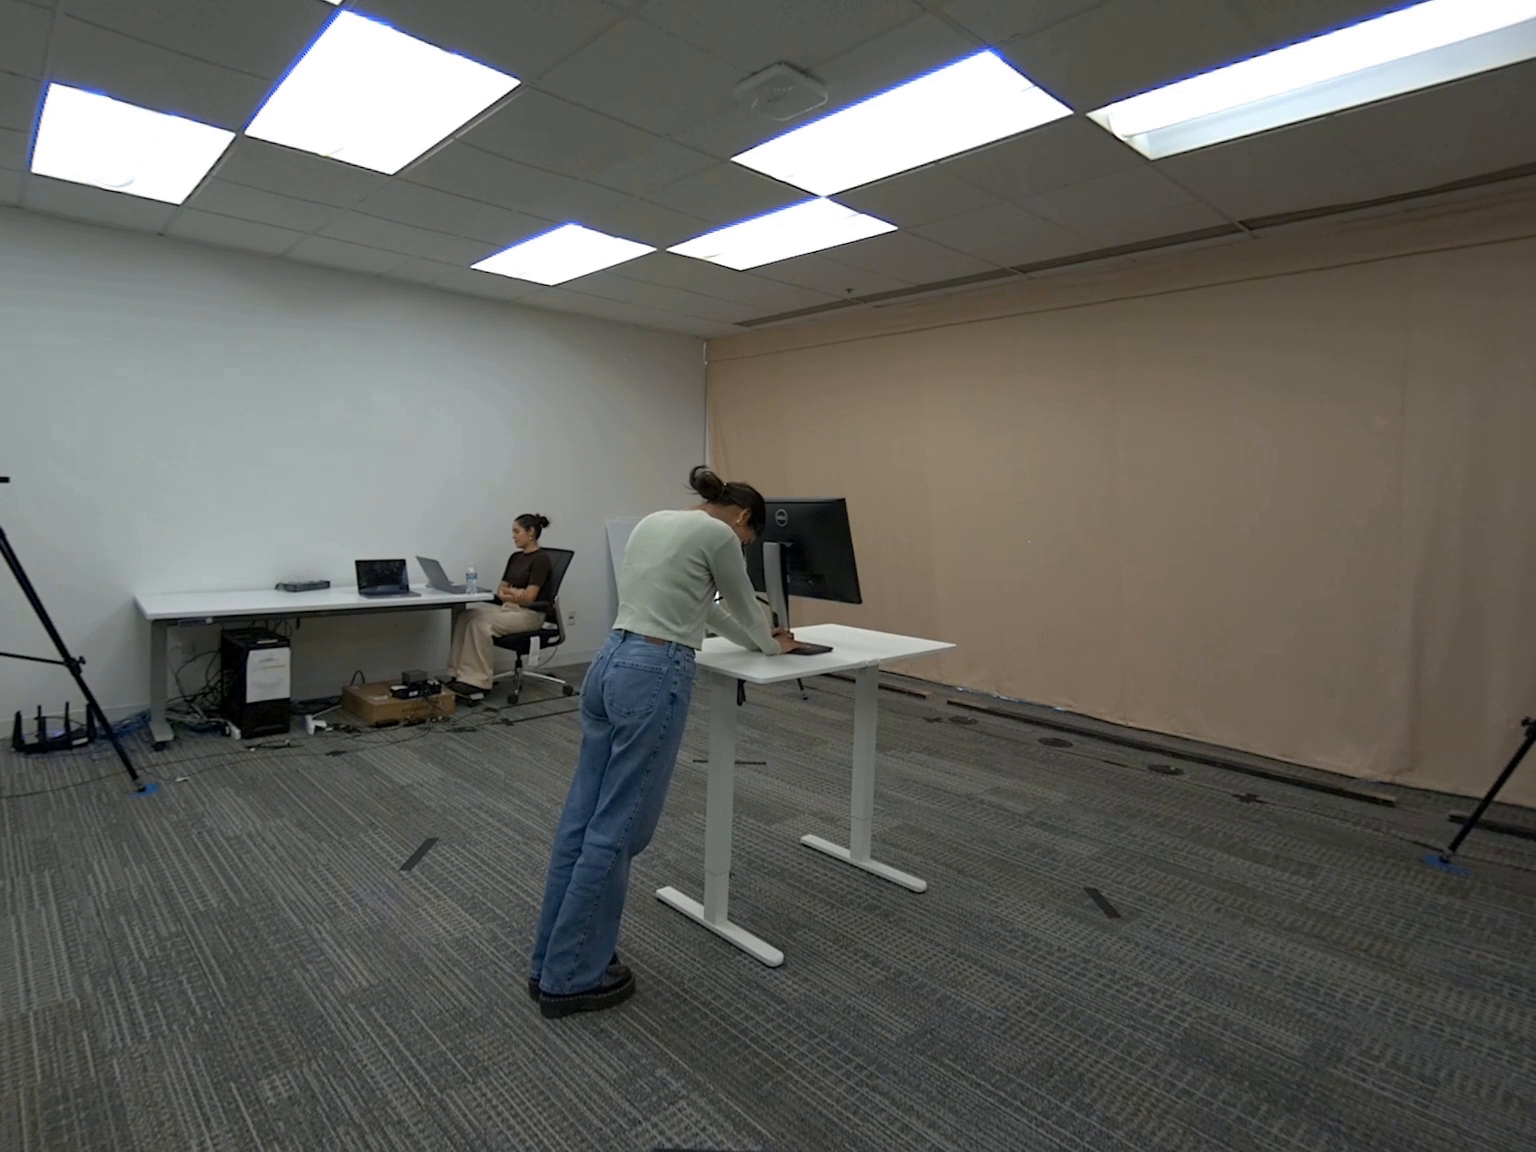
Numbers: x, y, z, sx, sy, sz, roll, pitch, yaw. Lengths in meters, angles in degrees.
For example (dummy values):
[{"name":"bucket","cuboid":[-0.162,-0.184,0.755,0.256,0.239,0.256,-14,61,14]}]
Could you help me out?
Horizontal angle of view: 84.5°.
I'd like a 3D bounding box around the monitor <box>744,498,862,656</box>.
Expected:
[{"name":"monitor","cuboid":[0.062,-0.004,2.851,0.183,0.521,0.553,-3,5,-42]}]
